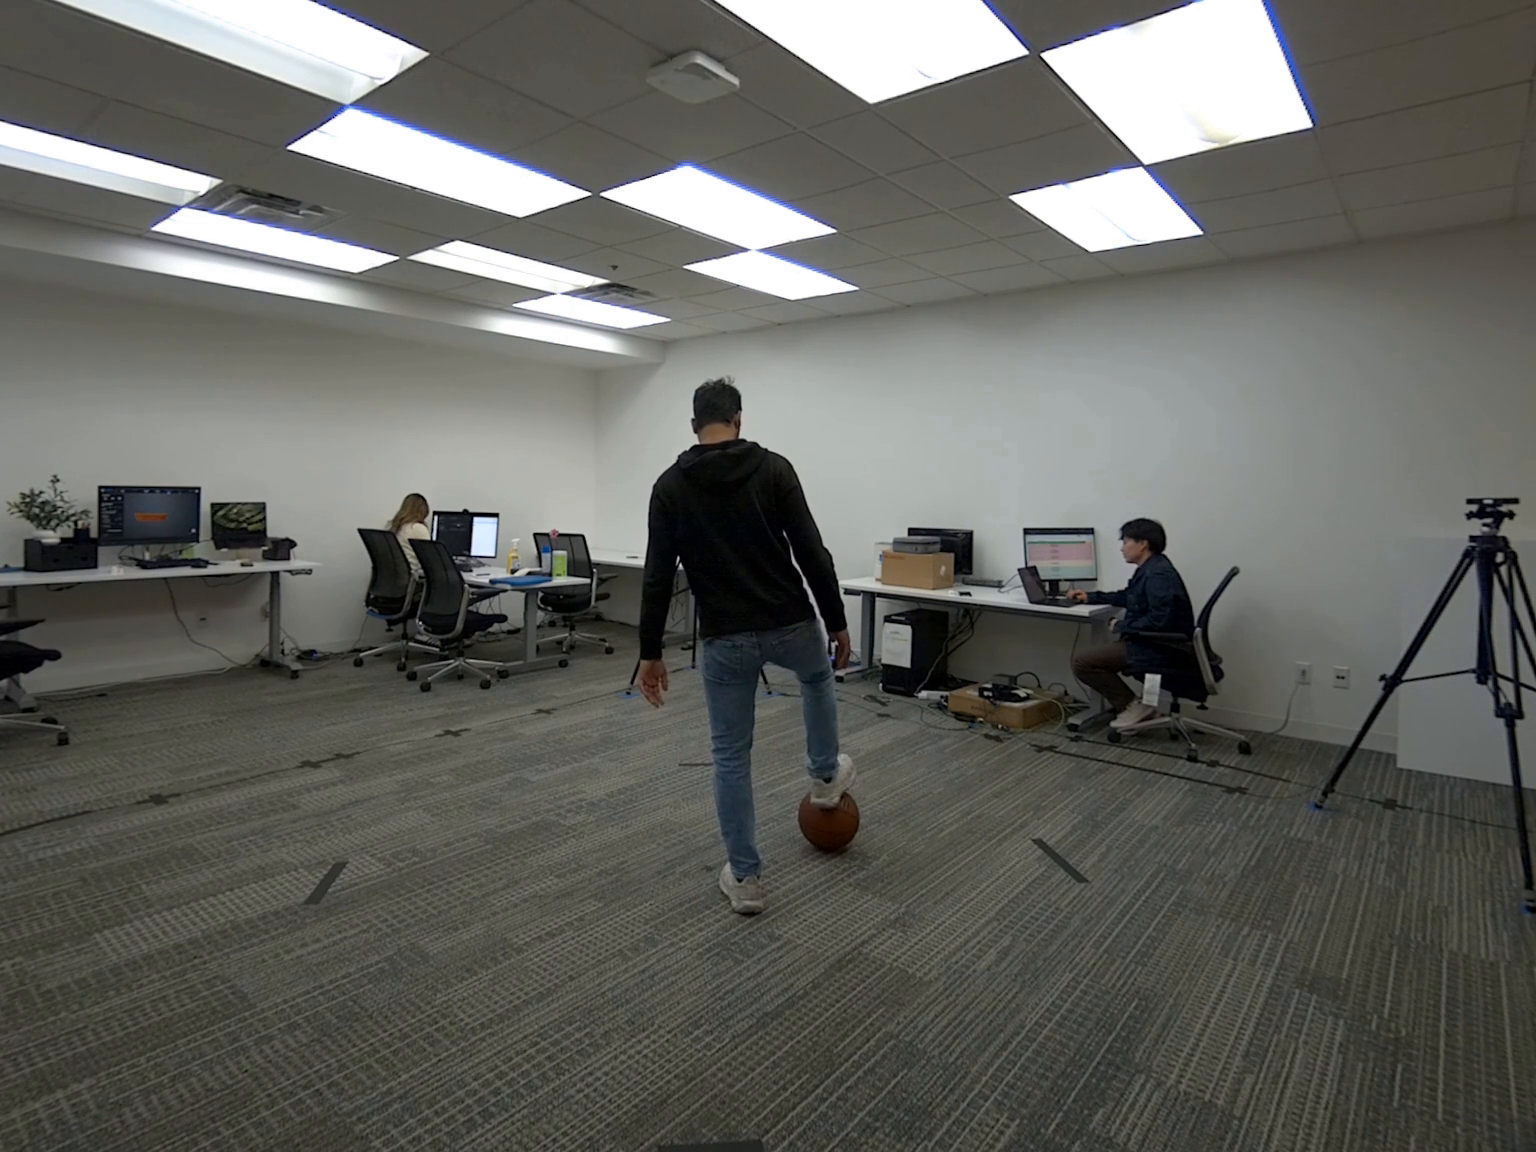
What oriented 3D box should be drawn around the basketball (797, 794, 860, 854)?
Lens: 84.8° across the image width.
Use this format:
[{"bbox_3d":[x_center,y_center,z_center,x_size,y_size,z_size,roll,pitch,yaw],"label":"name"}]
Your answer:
[{"bbox_3d":[0.221,0.936,3.293,0.235,0.235,0.237,1,4,-2],"label":"basketball"}]
